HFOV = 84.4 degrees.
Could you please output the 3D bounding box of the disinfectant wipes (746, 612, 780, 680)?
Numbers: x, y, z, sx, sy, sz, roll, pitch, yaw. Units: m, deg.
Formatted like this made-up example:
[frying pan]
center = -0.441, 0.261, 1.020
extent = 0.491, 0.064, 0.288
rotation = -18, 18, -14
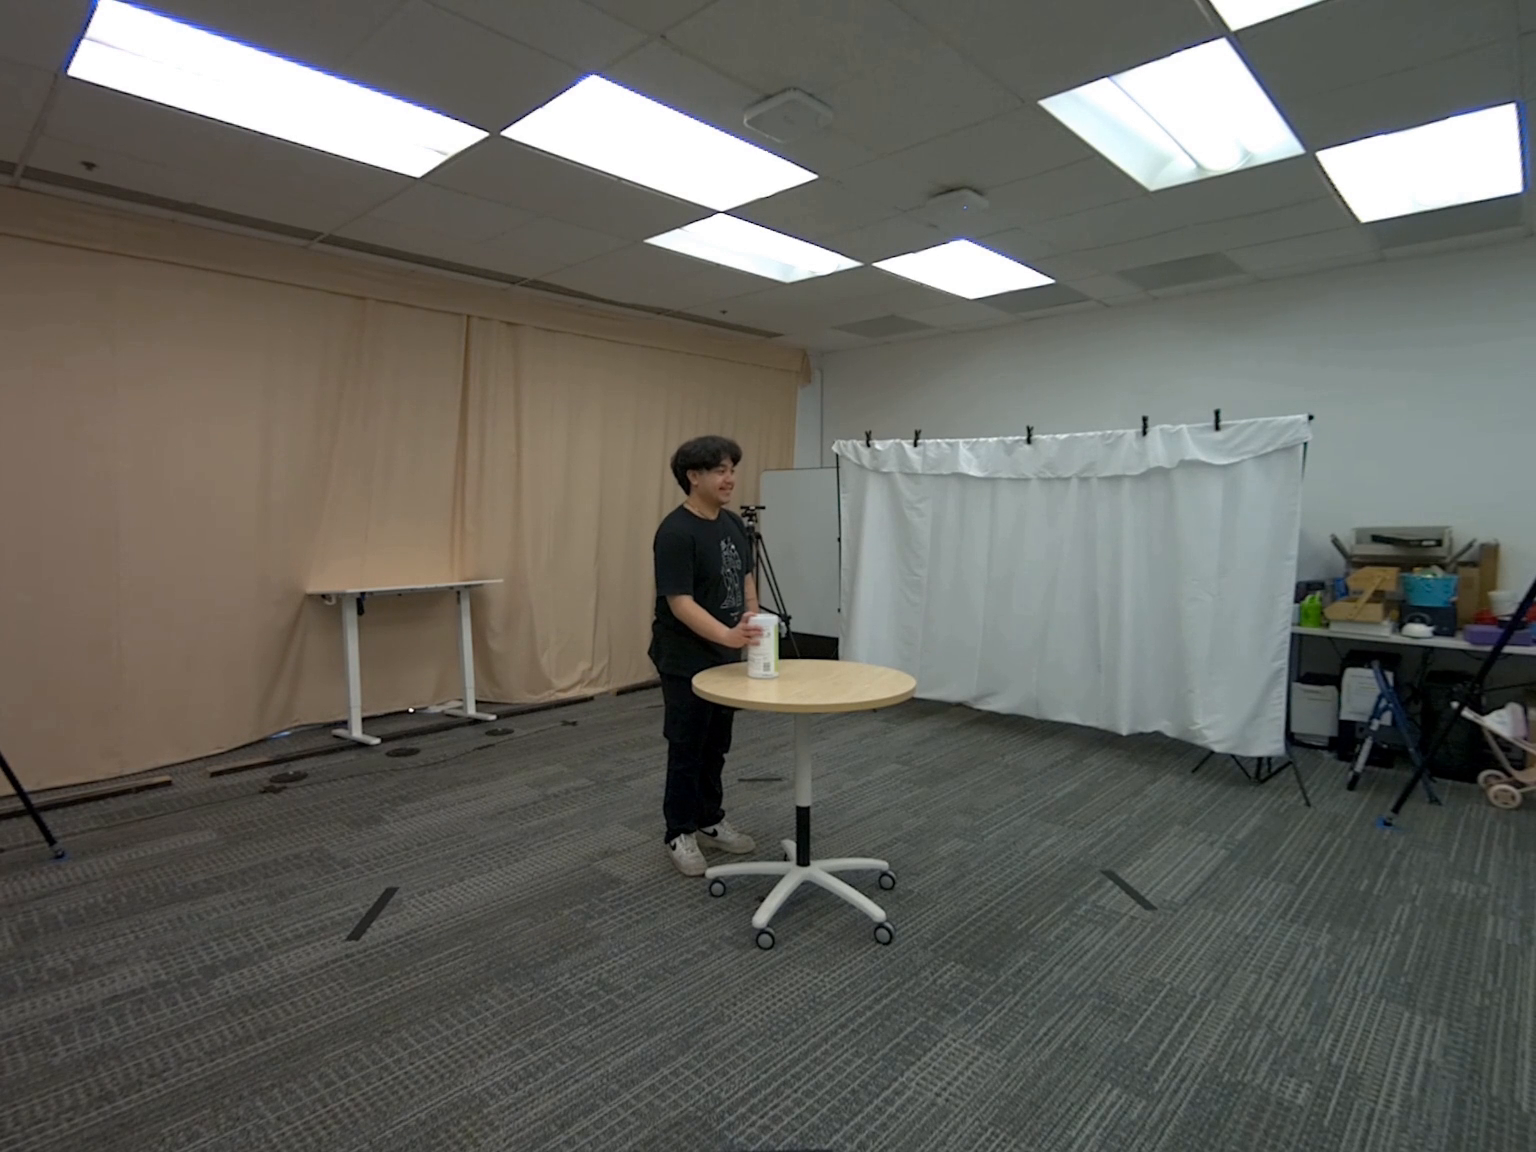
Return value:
[disinfectant wipes]
center = -0.013, 0.248, 2.954
extent = 0.118, 0.217, 0.118
rotation = 0, 2, -2
